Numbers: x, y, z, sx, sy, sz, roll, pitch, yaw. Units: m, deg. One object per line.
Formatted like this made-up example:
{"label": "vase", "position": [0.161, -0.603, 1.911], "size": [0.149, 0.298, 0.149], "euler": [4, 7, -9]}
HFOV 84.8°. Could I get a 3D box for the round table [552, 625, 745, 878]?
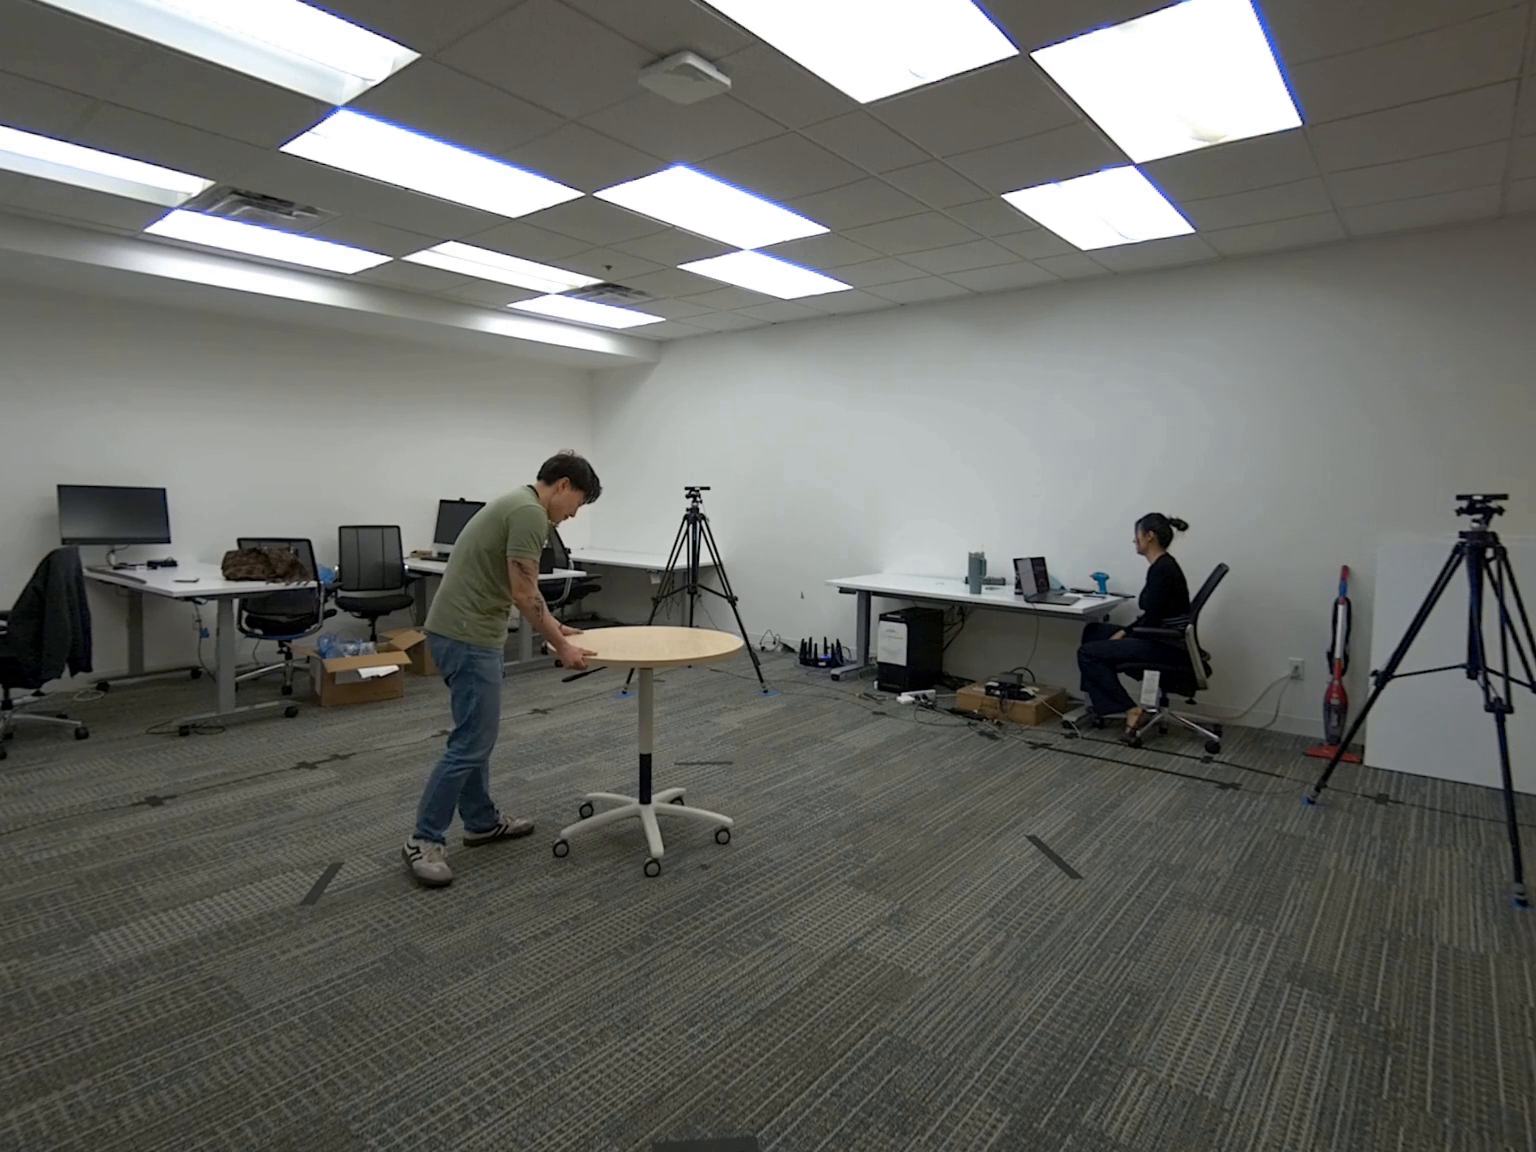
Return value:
{"label": "round table", "position": [-0.492, 0.653, 3.349], "size": [0.763, 0.792, 0.767], "euler": [0, 4, -2]}
